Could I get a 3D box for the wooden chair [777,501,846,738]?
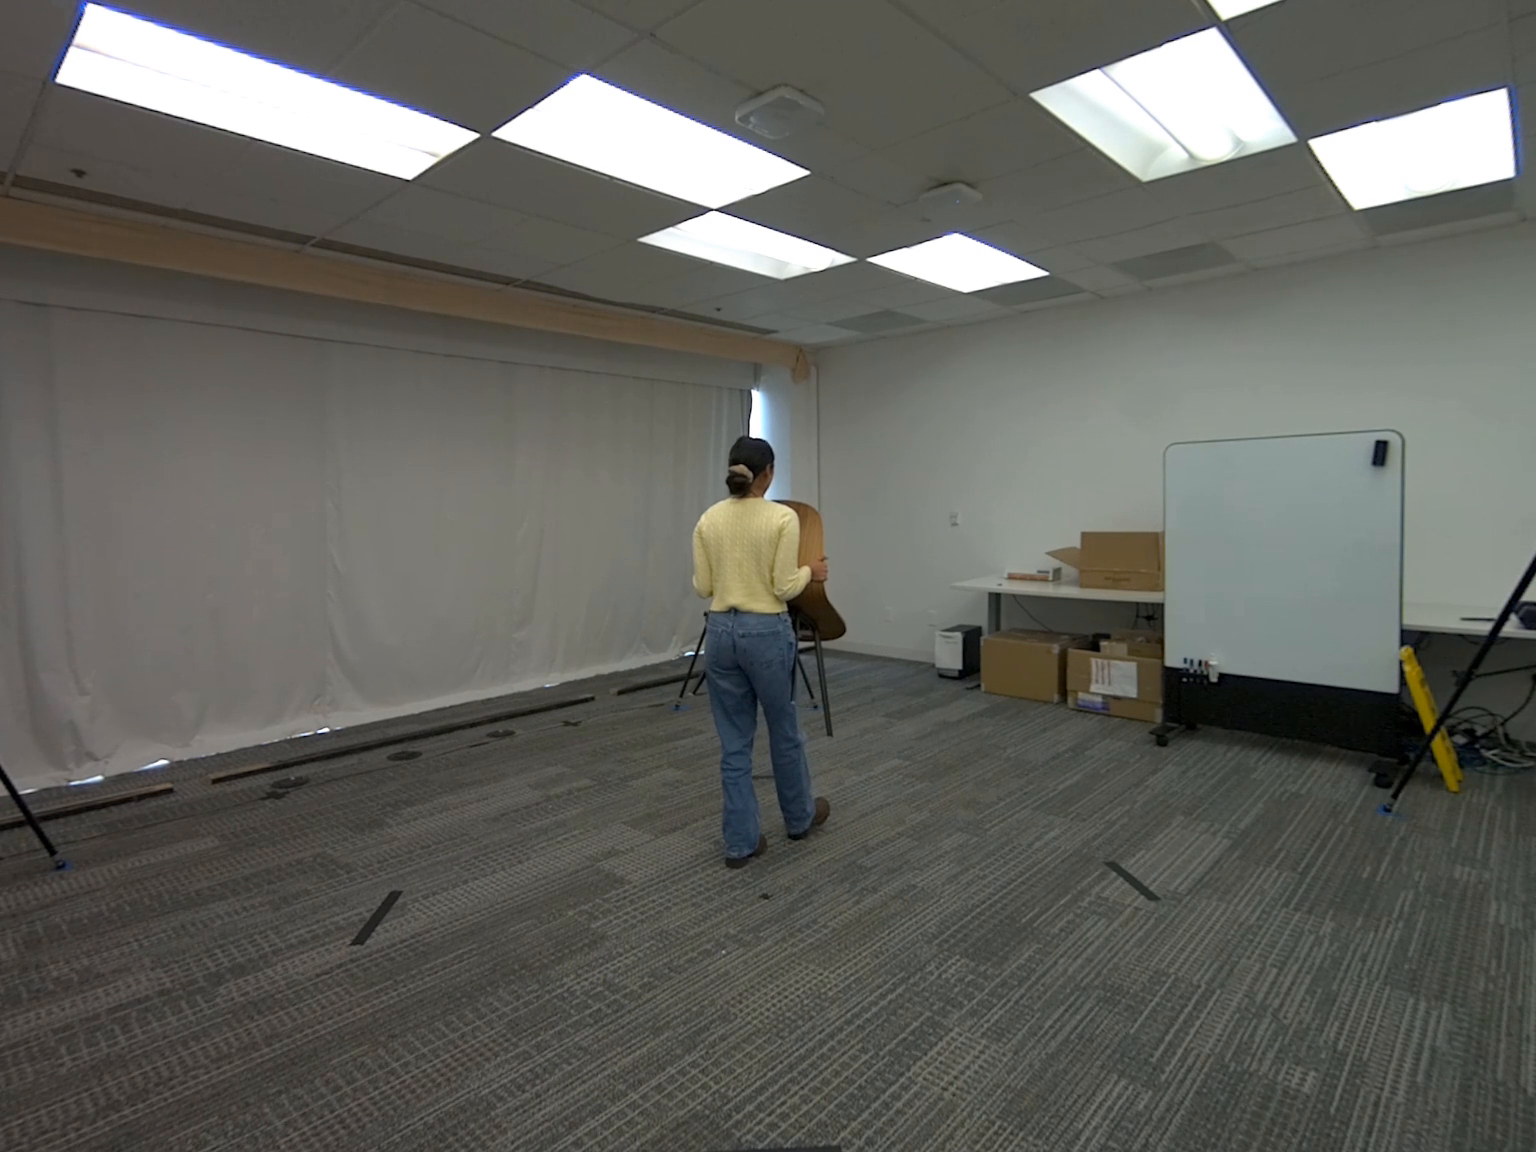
[{"bbox_3d":[0.070,0.186,3.560,0.490,0.885,0.505,-2,-24,27],"label":"wooden chair"}]
